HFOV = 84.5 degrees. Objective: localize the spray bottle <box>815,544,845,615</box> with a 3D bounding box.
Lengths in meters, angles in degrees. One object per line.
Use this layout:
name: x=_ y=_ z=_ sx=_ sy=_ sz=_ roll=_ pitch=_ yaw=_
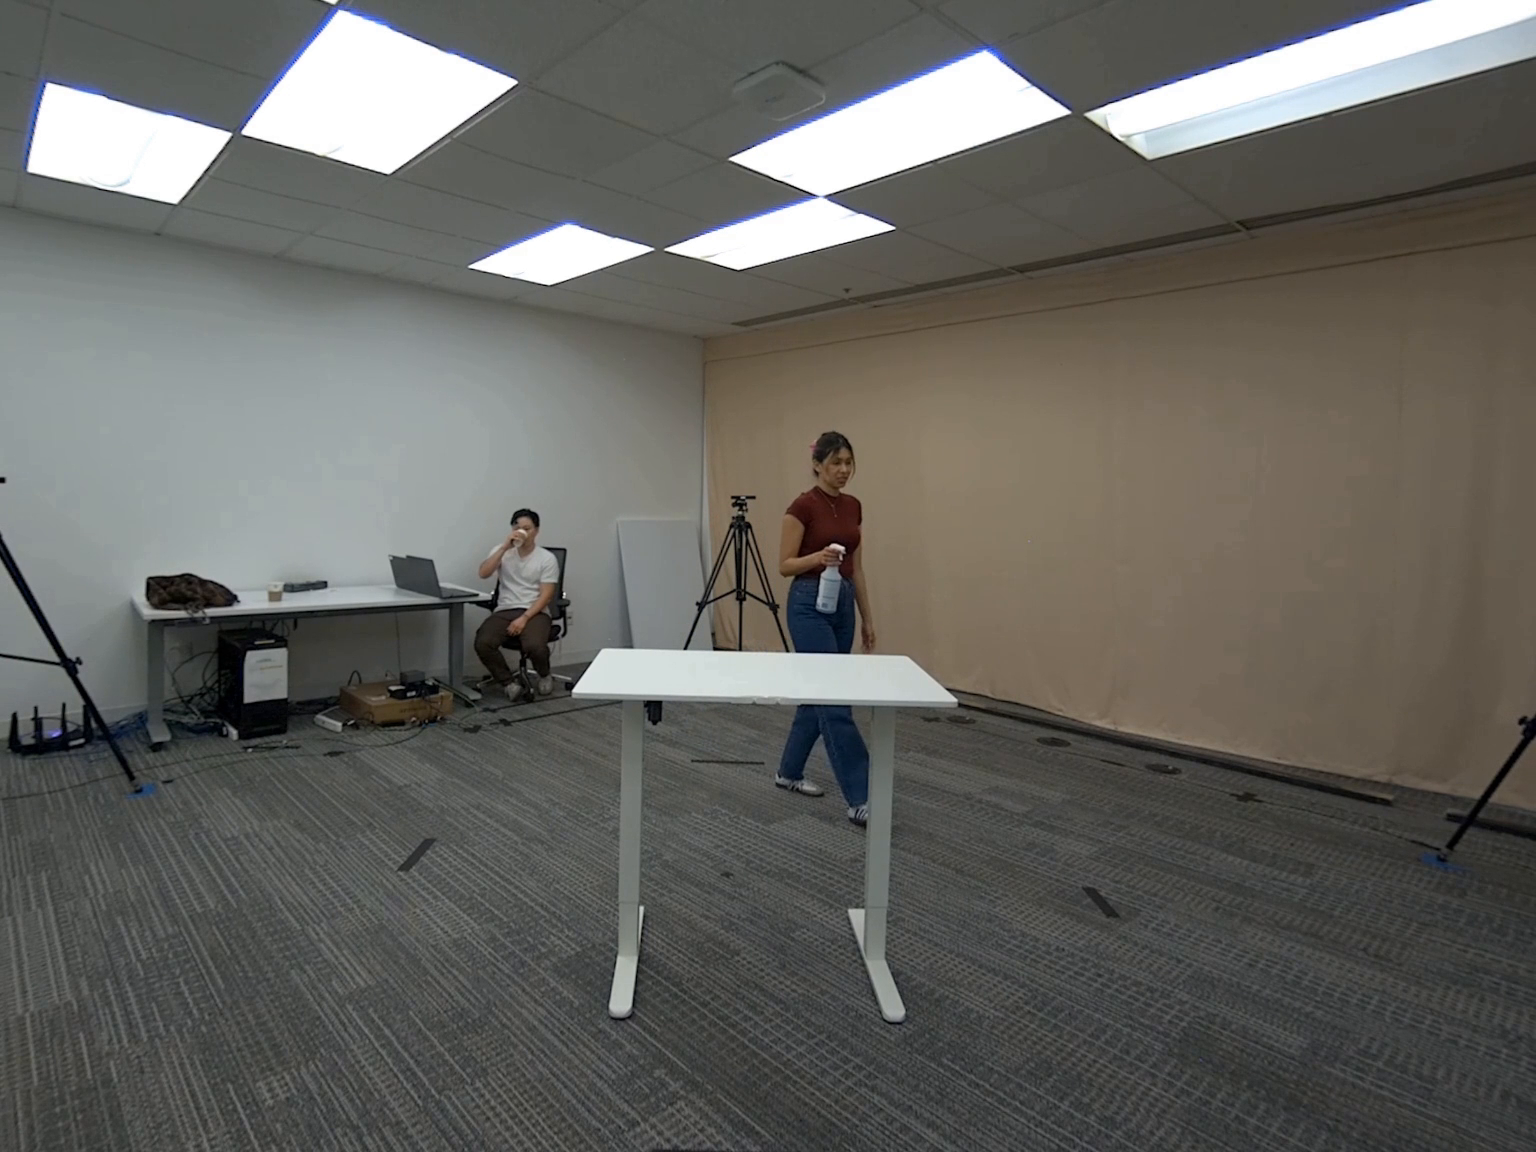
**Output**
spray bottle: x=0.261 y=0.009 z=3.553 sx=0.086 sy=0.294 sz=0.092 roll=4 pitch=16 yaw=-10
